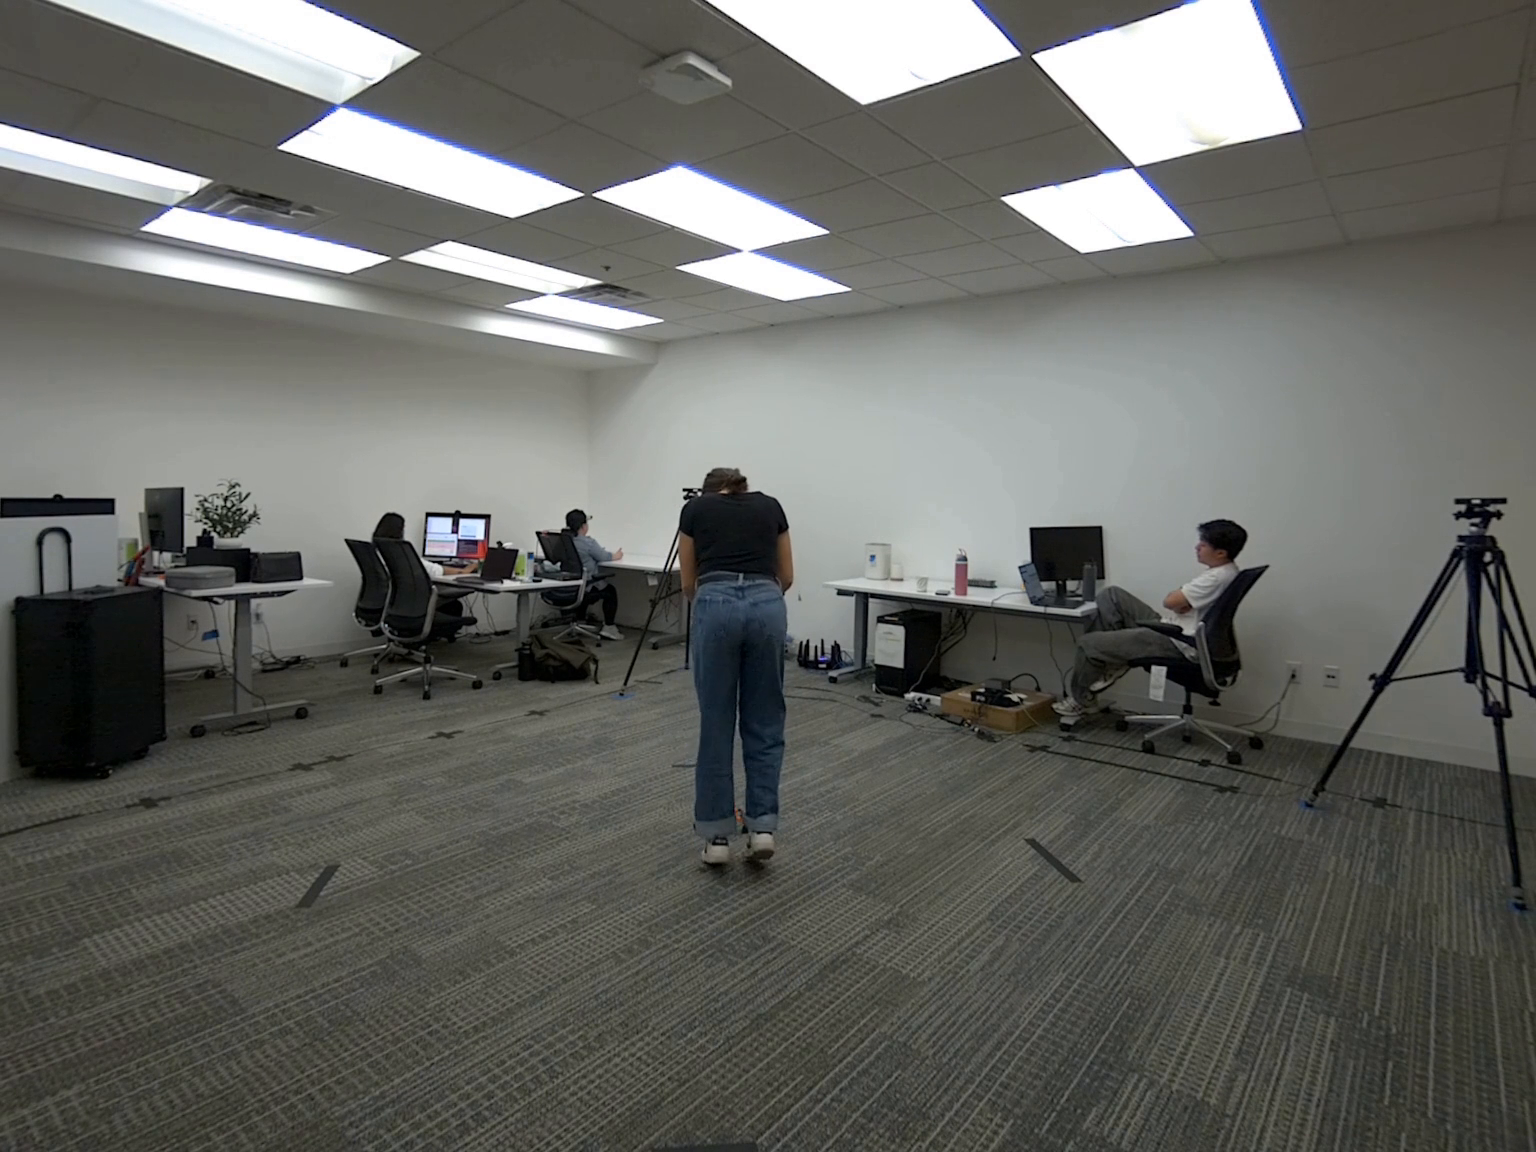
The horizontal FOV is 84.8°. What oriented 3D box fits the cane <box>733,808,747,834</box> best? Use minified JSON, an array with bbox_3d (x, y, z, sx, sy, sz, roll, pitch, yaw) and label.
[{"bbox_3d":[-0.168,0.567,3.490,0.206,0.906,0.152,1,2,-4],"label":"cane"}]
